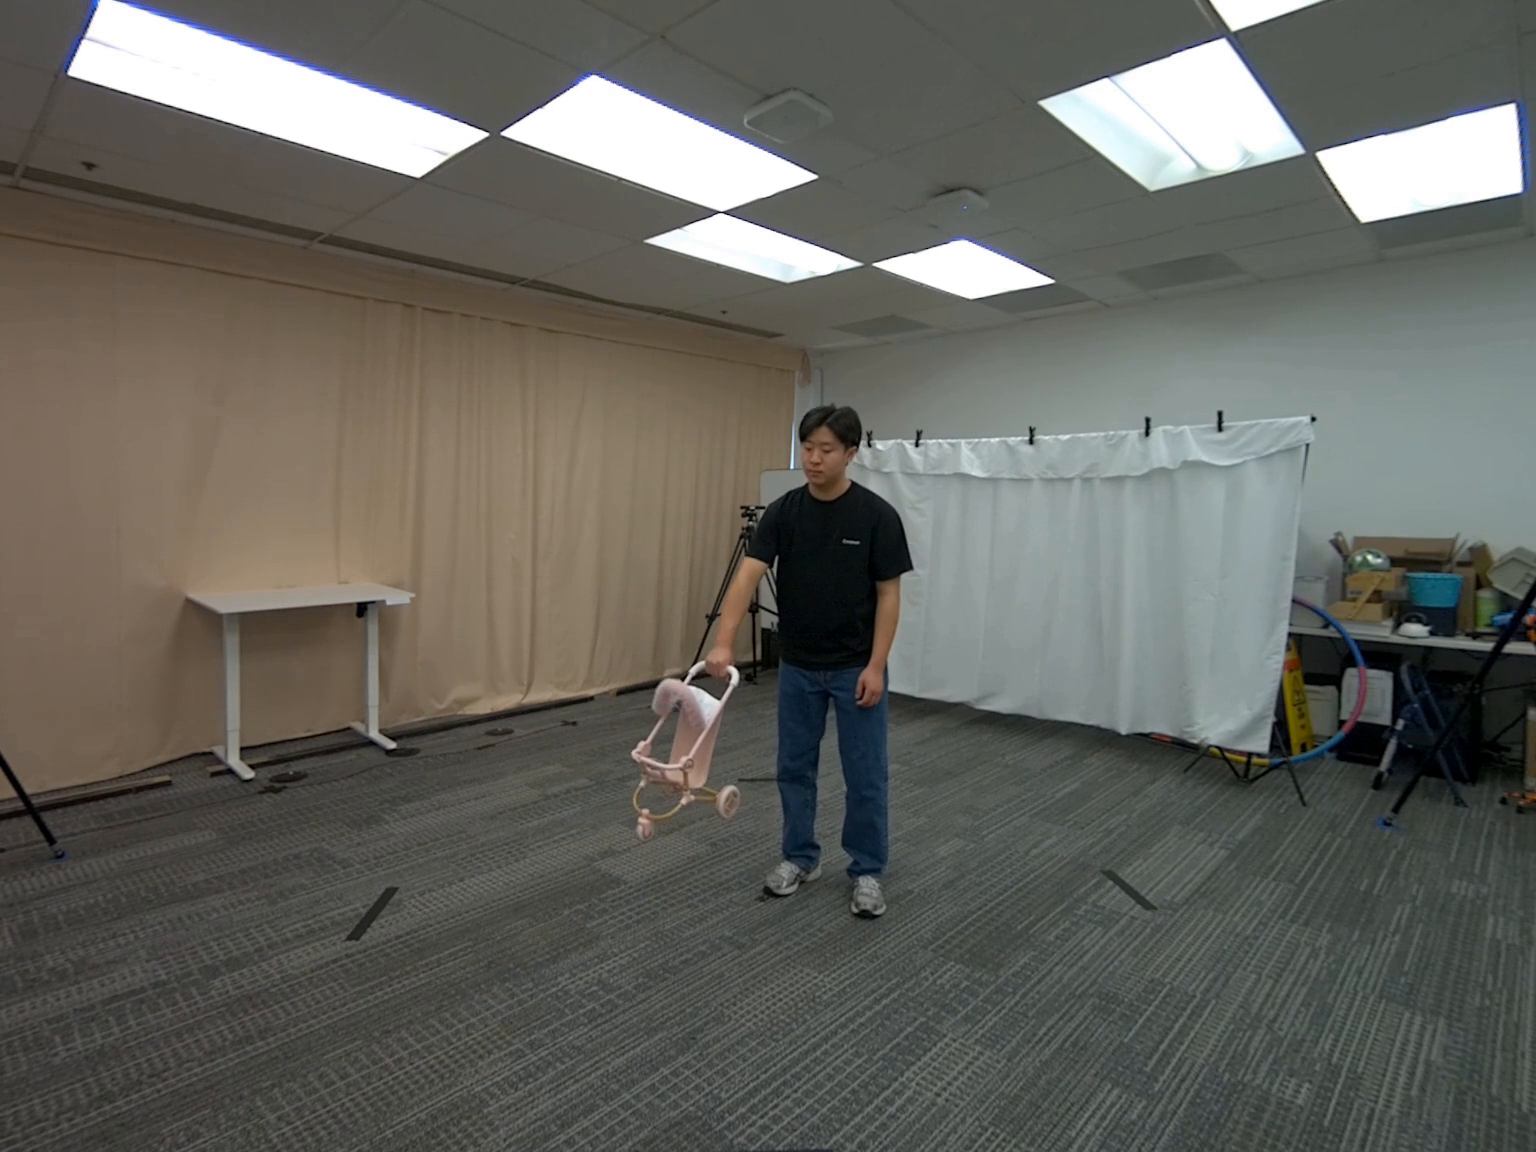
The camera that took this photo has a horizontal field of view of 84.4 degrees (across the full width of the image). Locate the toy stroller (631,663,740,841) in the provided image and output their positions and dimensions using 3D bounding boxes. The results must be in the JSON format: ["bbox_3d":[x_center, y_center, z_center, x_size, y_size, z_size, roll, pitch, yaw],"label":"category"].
[{"bbox_3d":[-0.272,0.564,2.711,0.291,0.534,0.330,9,5,44],"label":"toy stroller"}]
